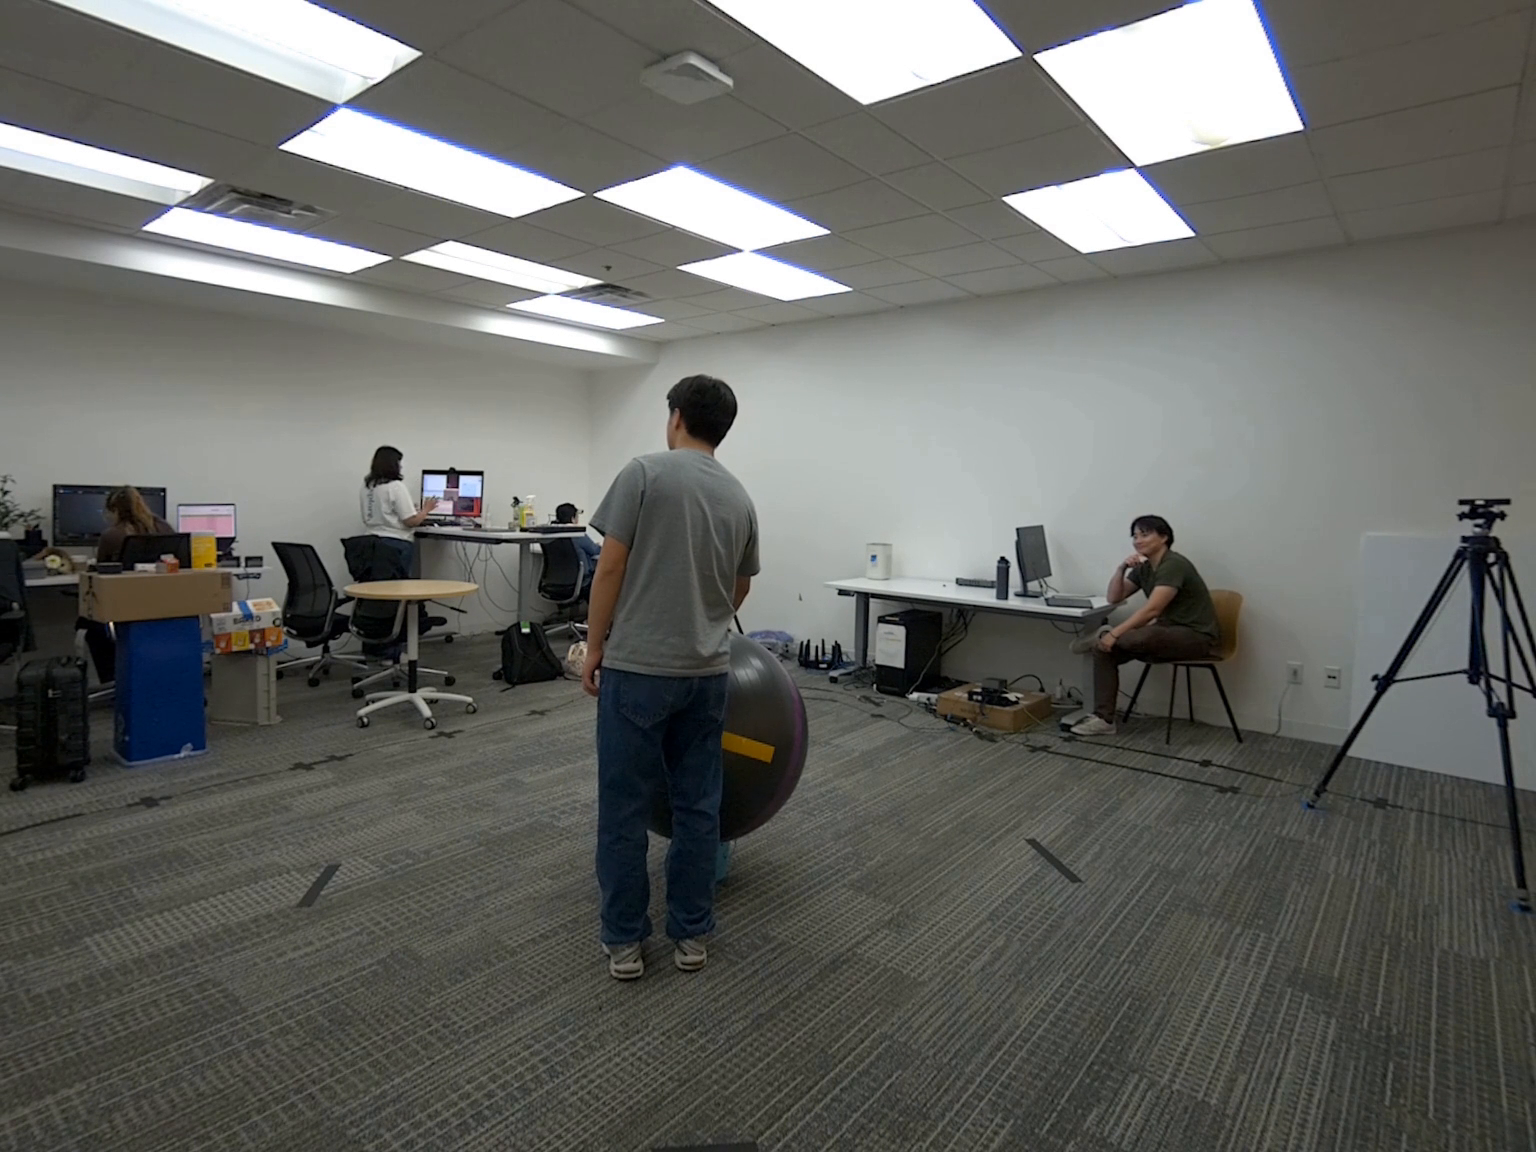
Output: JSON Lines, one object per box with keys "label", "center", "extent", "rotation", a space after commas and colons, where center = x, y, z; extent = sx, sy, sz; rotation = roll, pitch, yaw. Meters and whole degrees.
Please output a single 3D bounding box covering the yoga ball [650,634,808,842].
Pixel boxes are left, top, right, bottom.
{"label": "yoga ball", "center": [-0.247, 0.557, 3.059], "extent": [0.757, 0.755, 0.762], "rotation": [1, 4, -2]}
